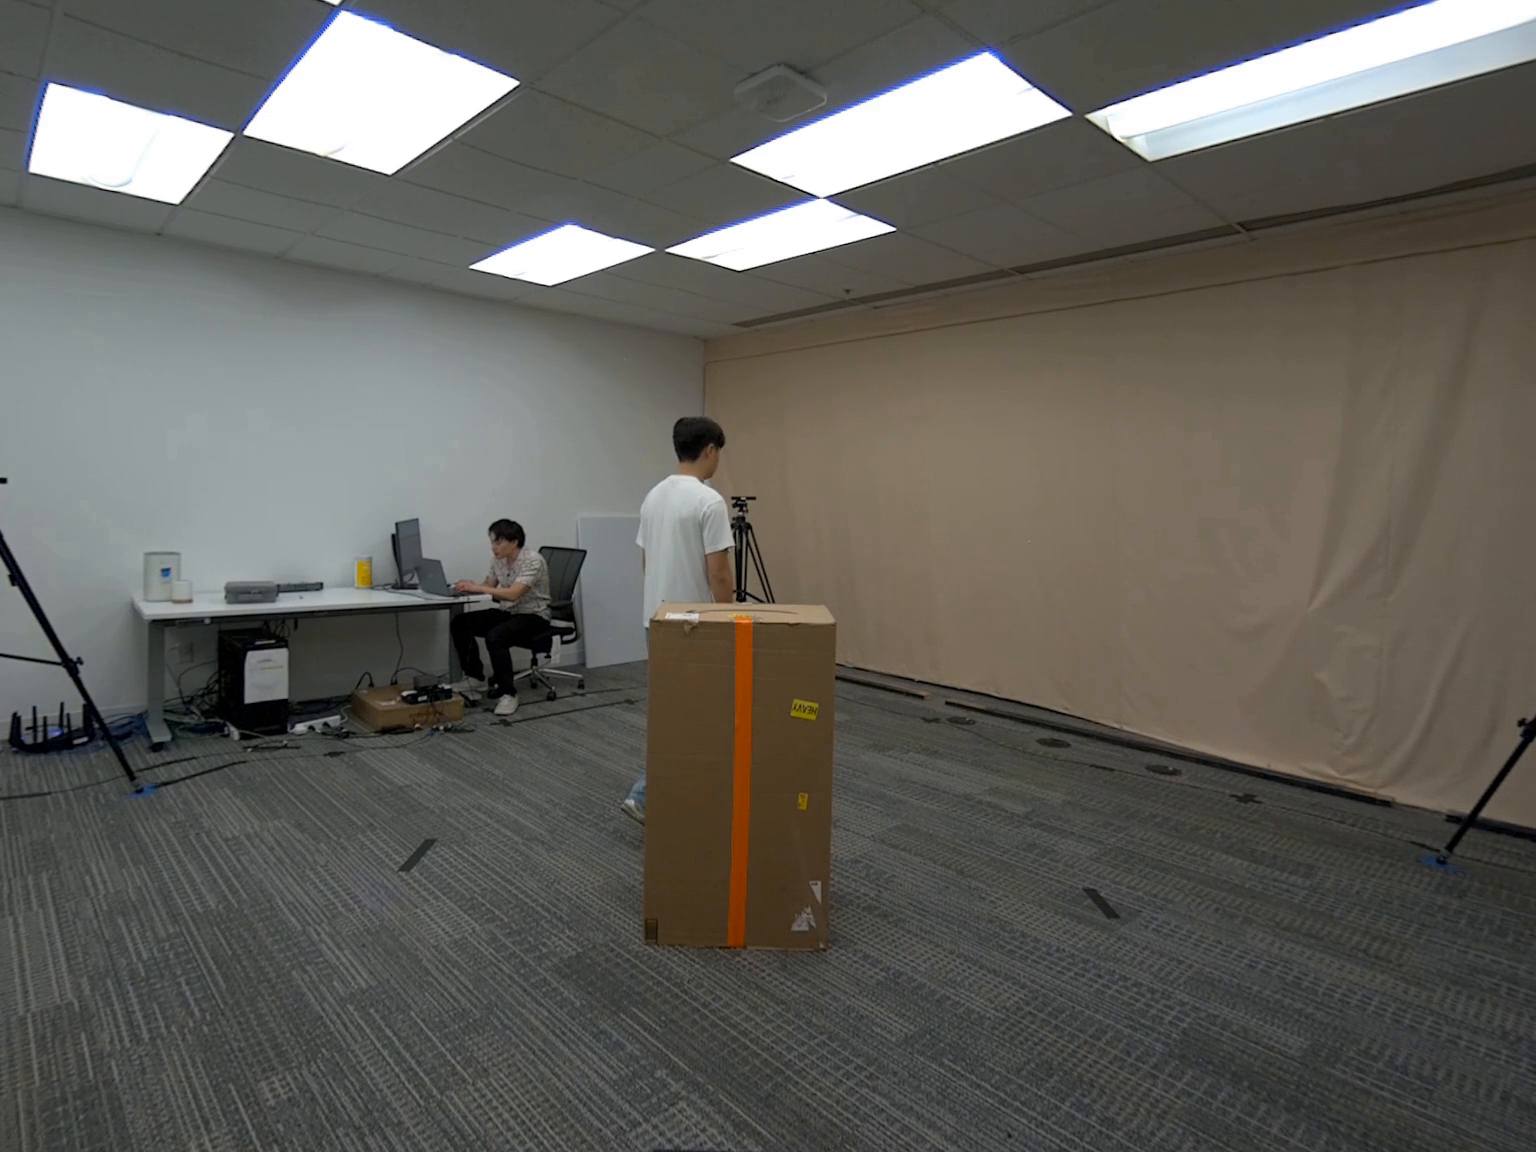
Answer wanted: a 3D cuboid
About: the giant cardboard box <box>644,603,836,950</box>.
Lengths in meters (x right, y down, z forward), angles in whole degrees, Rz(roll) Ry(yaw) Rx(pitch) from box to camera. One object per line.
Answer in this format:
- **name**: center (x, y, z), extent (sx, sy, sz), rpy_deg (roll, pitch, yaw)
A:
- **giant cardboard box**: center (-0.097, 0.629, 2.782), extent (0.577, 1.023, 0.427), rpy_deg (1, 3, -1)
